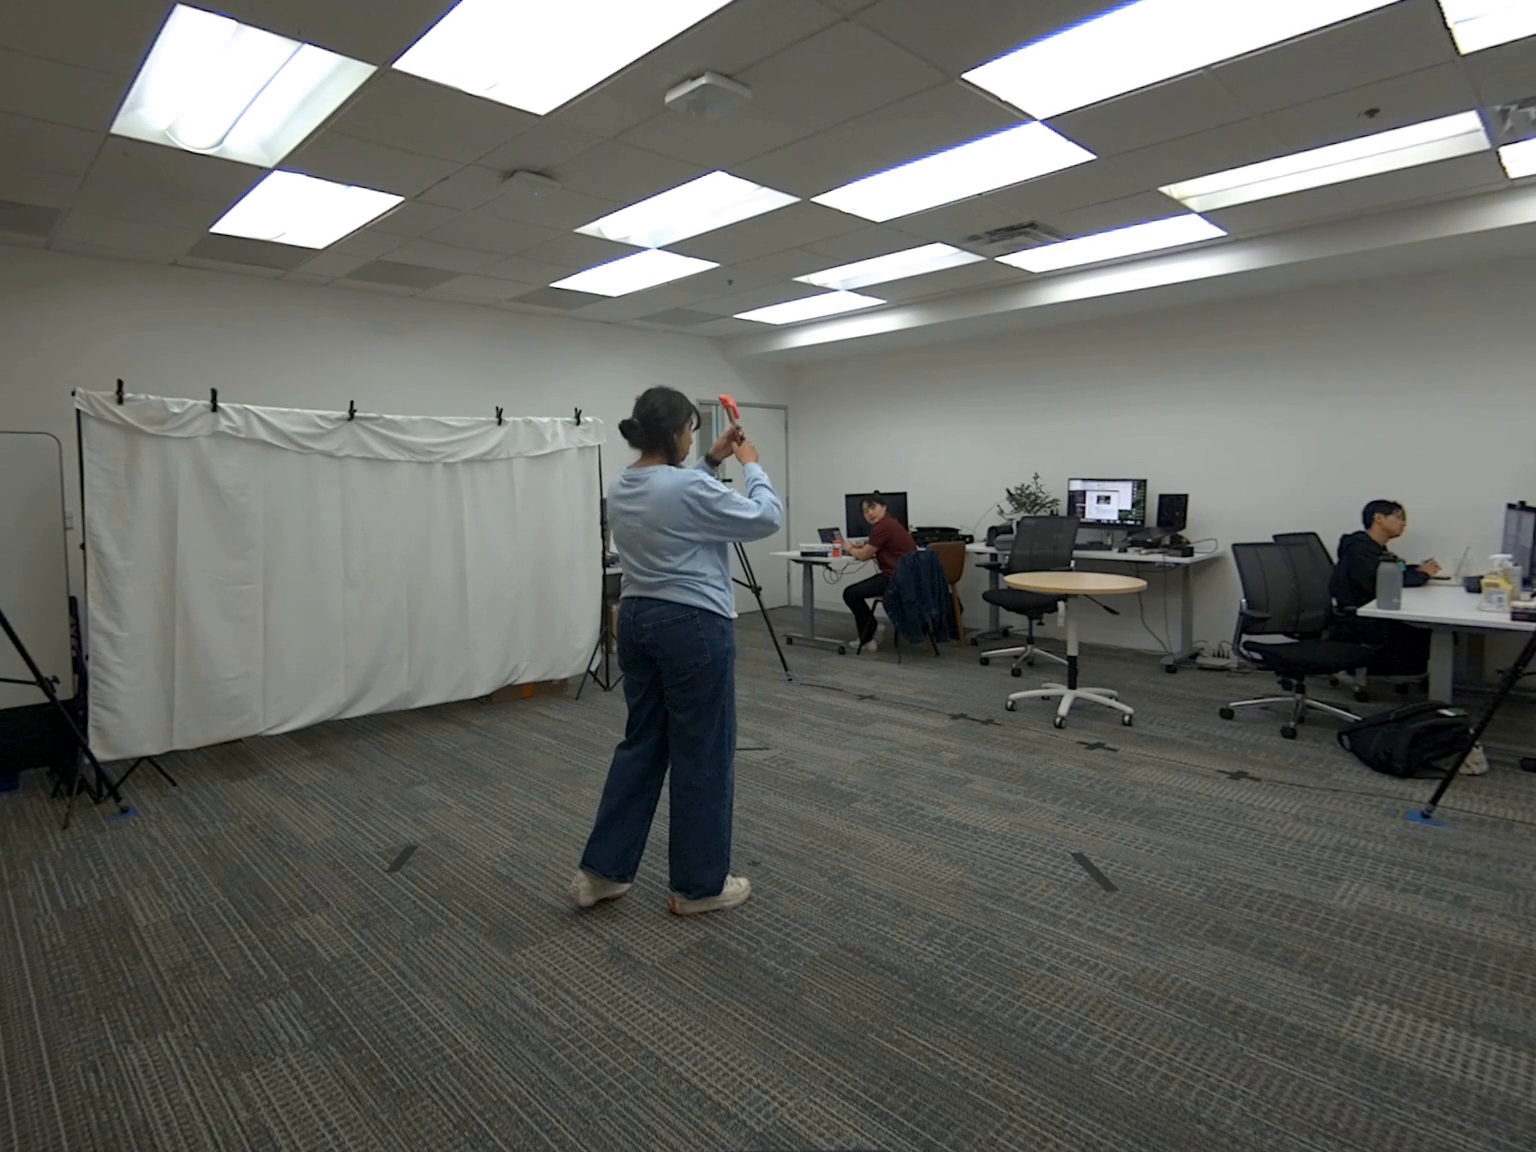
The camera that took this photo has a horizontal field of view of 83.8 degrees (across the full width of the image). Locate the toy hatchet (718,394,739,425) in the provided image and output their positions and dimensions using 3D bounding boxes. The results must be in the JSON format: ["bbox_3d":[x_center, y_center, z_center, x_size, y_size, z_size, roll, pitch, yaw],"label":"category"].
[{"bbox_3d":[-0.106,-0.500,2.995,0.030,0.270,0.129,-19,0,21],"label":"toy hatchet"}]
